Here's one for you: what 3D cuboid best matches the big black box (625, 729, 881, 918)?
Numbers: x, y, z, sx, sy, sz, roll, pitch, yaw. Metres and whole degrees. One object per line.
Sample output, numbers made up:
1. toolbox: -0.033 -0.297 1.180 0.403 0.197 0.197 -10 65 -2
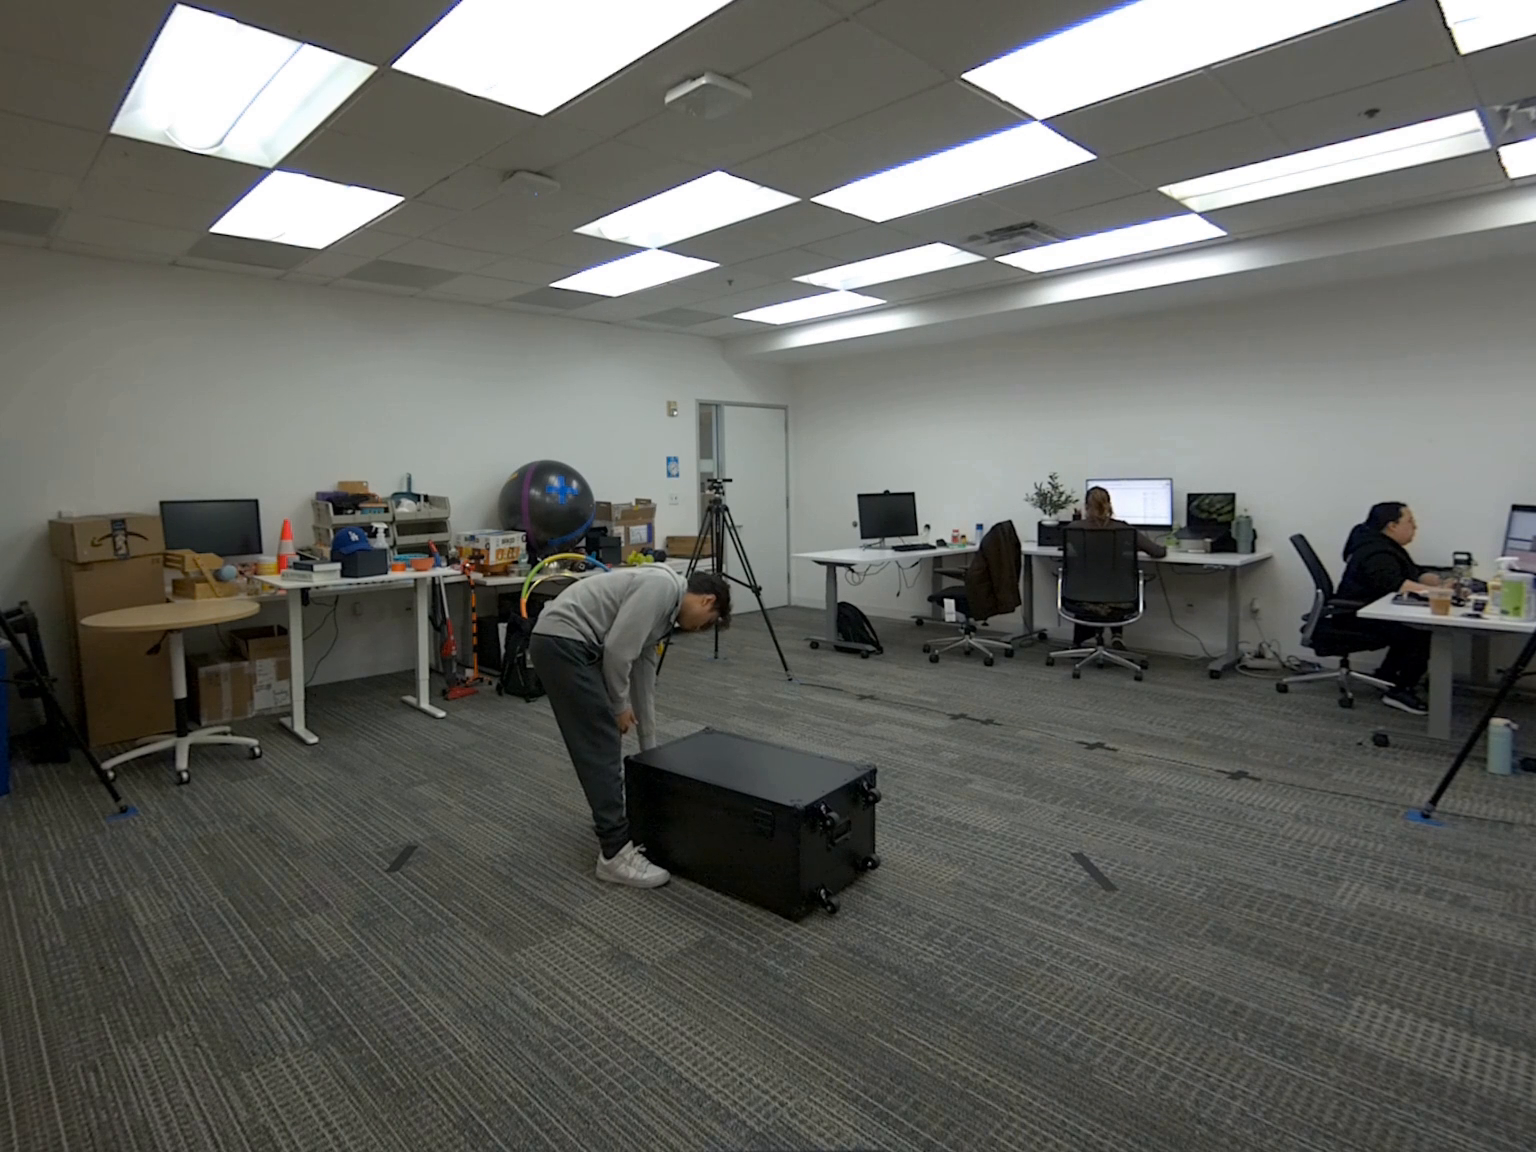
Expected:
1. big black box: -0.045 0.862 3.064 0.887 0.395 0.508 3 6 38
